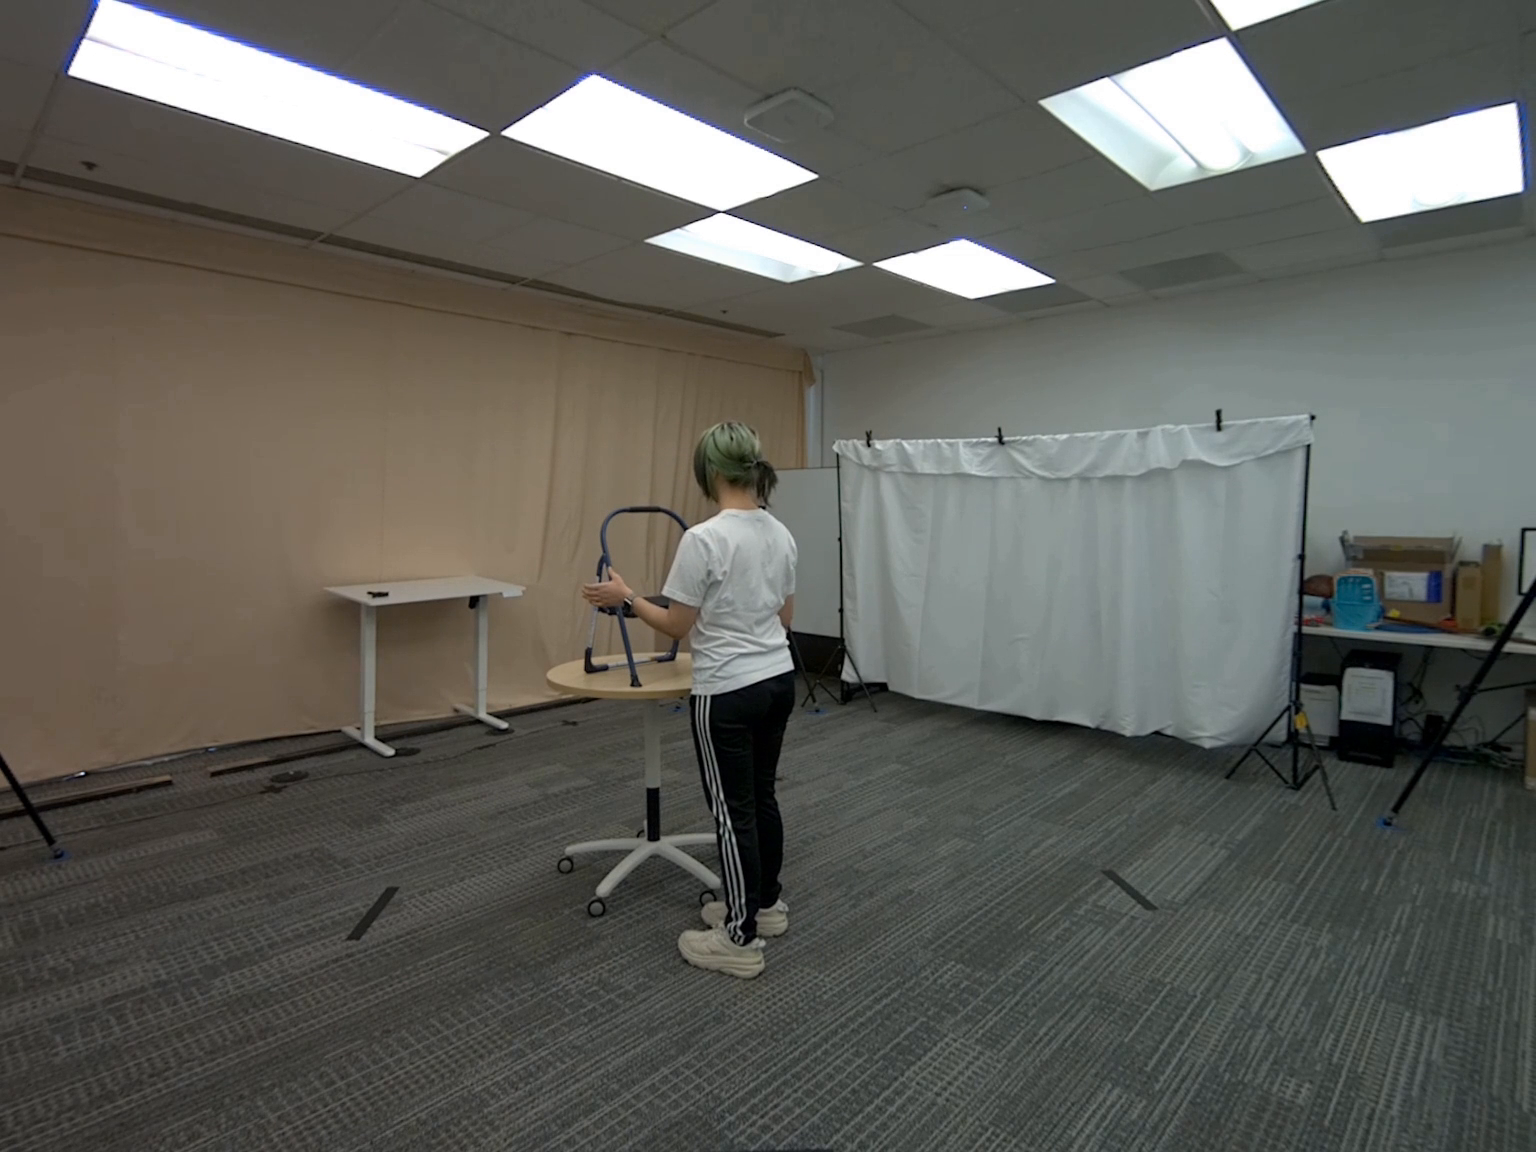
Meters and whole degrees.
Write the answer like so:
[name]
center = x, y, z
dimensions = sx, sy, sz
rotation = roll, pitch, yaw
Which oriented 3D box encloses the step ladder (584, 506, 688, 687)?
[step ladder]
center = -0.417, 0.052, 3.074
dimensions = 0.417, 0.605, 0.361
rotation = -3, 4, -42
